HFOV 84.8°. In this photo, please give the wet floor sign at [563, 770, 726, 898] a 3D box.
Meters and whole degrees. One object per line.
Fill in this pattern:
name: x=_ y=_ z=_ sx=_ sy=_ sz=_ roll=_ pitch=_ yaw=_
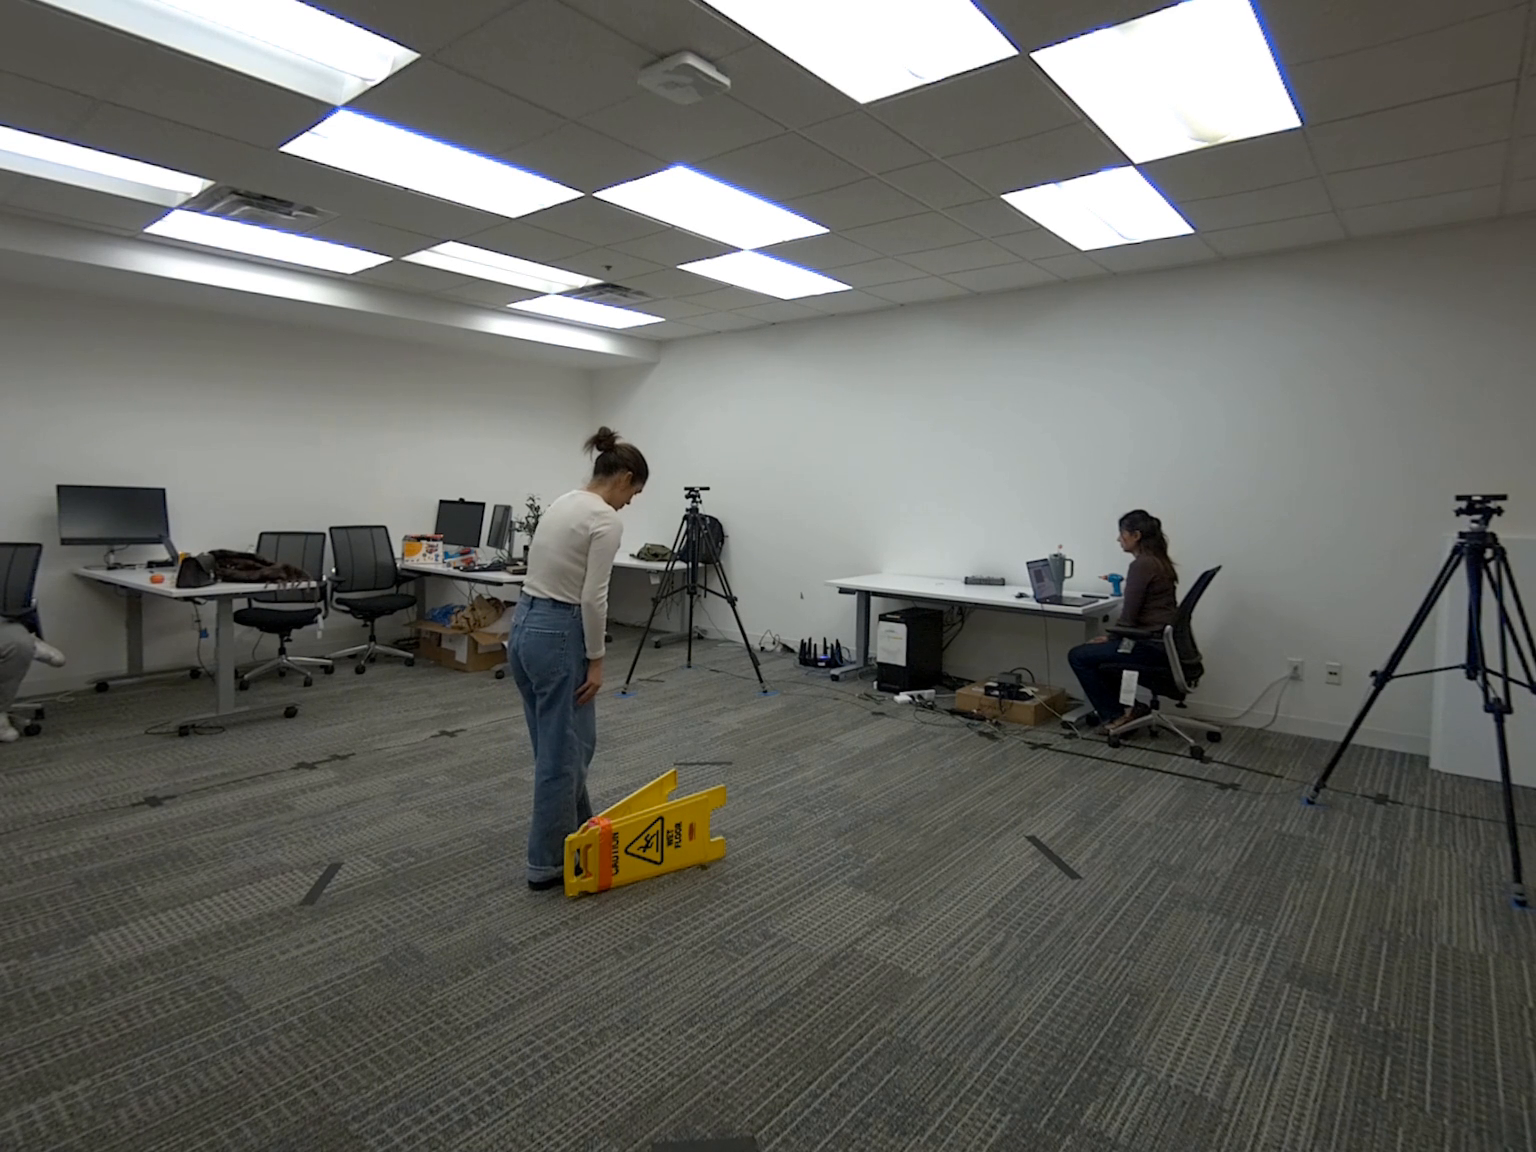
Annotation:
wet floor sign: x=-0.474 y=0.940 z=3.053 sx=0.299 sy=0.281 sz=0.628 roll=4 pitch=7 yaw=40
